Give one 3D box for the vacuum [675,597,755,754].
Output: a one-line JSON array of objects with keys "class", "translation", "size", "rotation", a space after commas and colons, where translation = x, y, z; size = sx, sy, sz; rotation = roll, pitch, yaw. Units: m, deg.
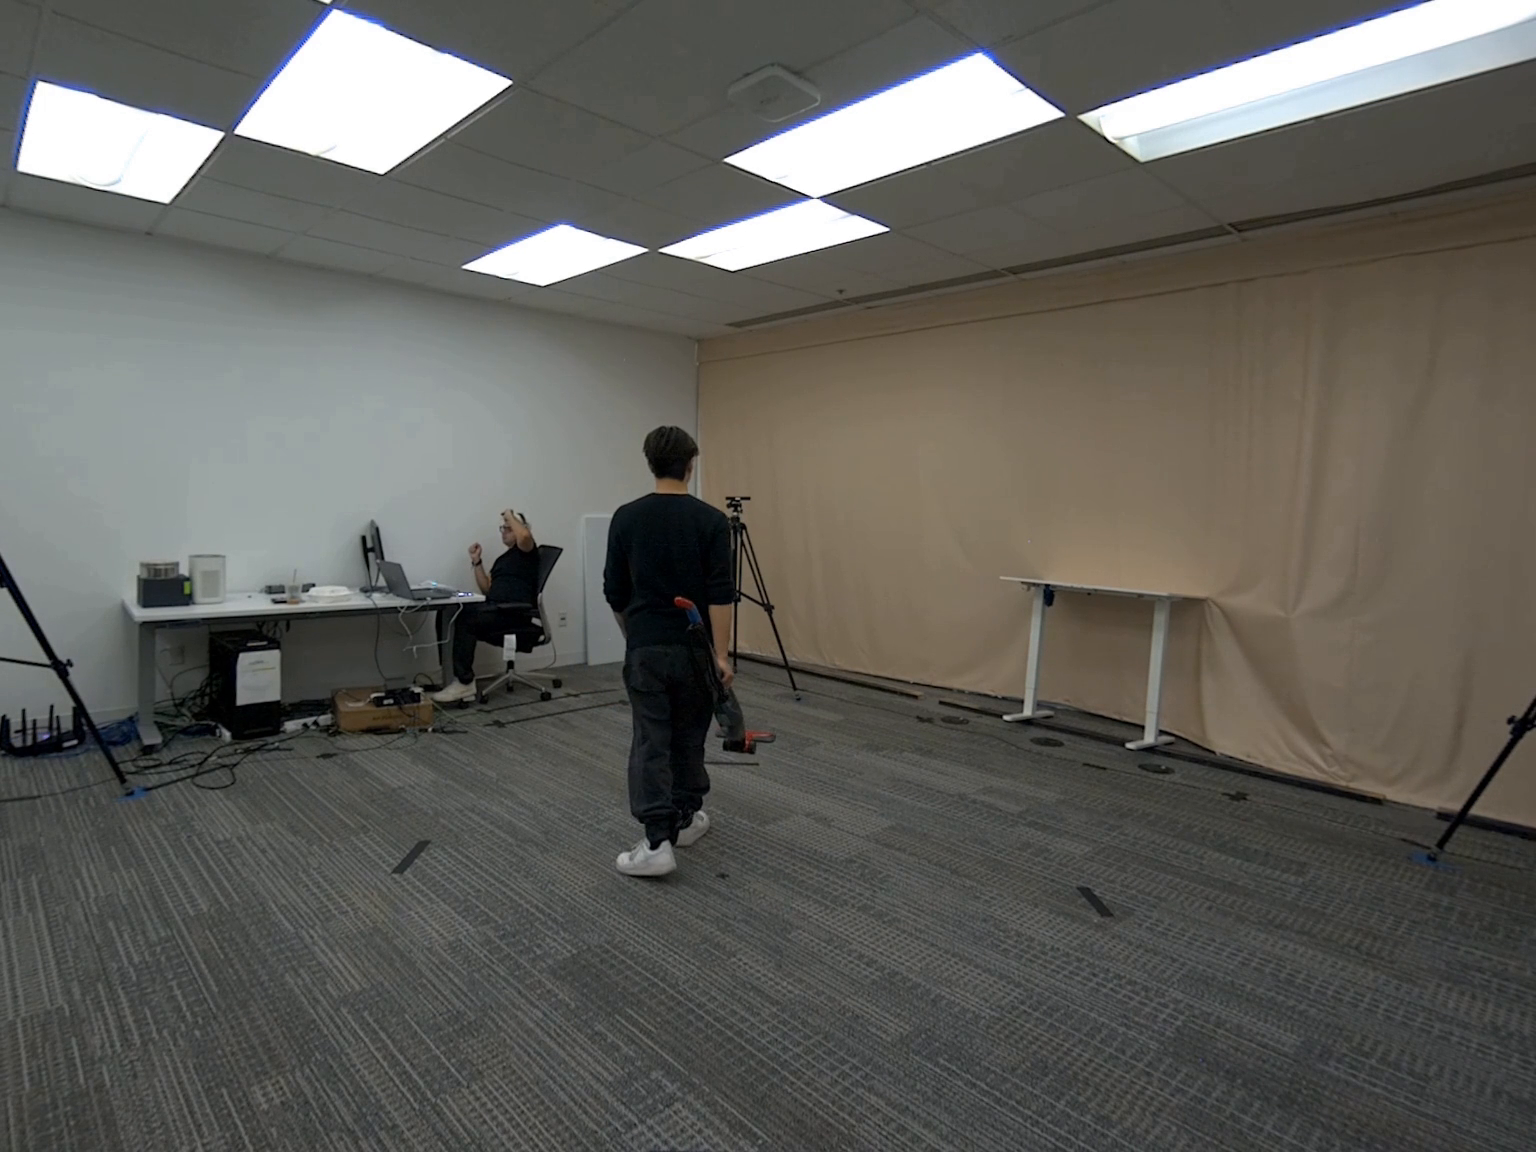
[{"class": "vacuum", "translation": [-0.196, 0.387, 3.123], "size": [0.256, 0.146, 1.021], "rotation": [6, -37, 16]}]
